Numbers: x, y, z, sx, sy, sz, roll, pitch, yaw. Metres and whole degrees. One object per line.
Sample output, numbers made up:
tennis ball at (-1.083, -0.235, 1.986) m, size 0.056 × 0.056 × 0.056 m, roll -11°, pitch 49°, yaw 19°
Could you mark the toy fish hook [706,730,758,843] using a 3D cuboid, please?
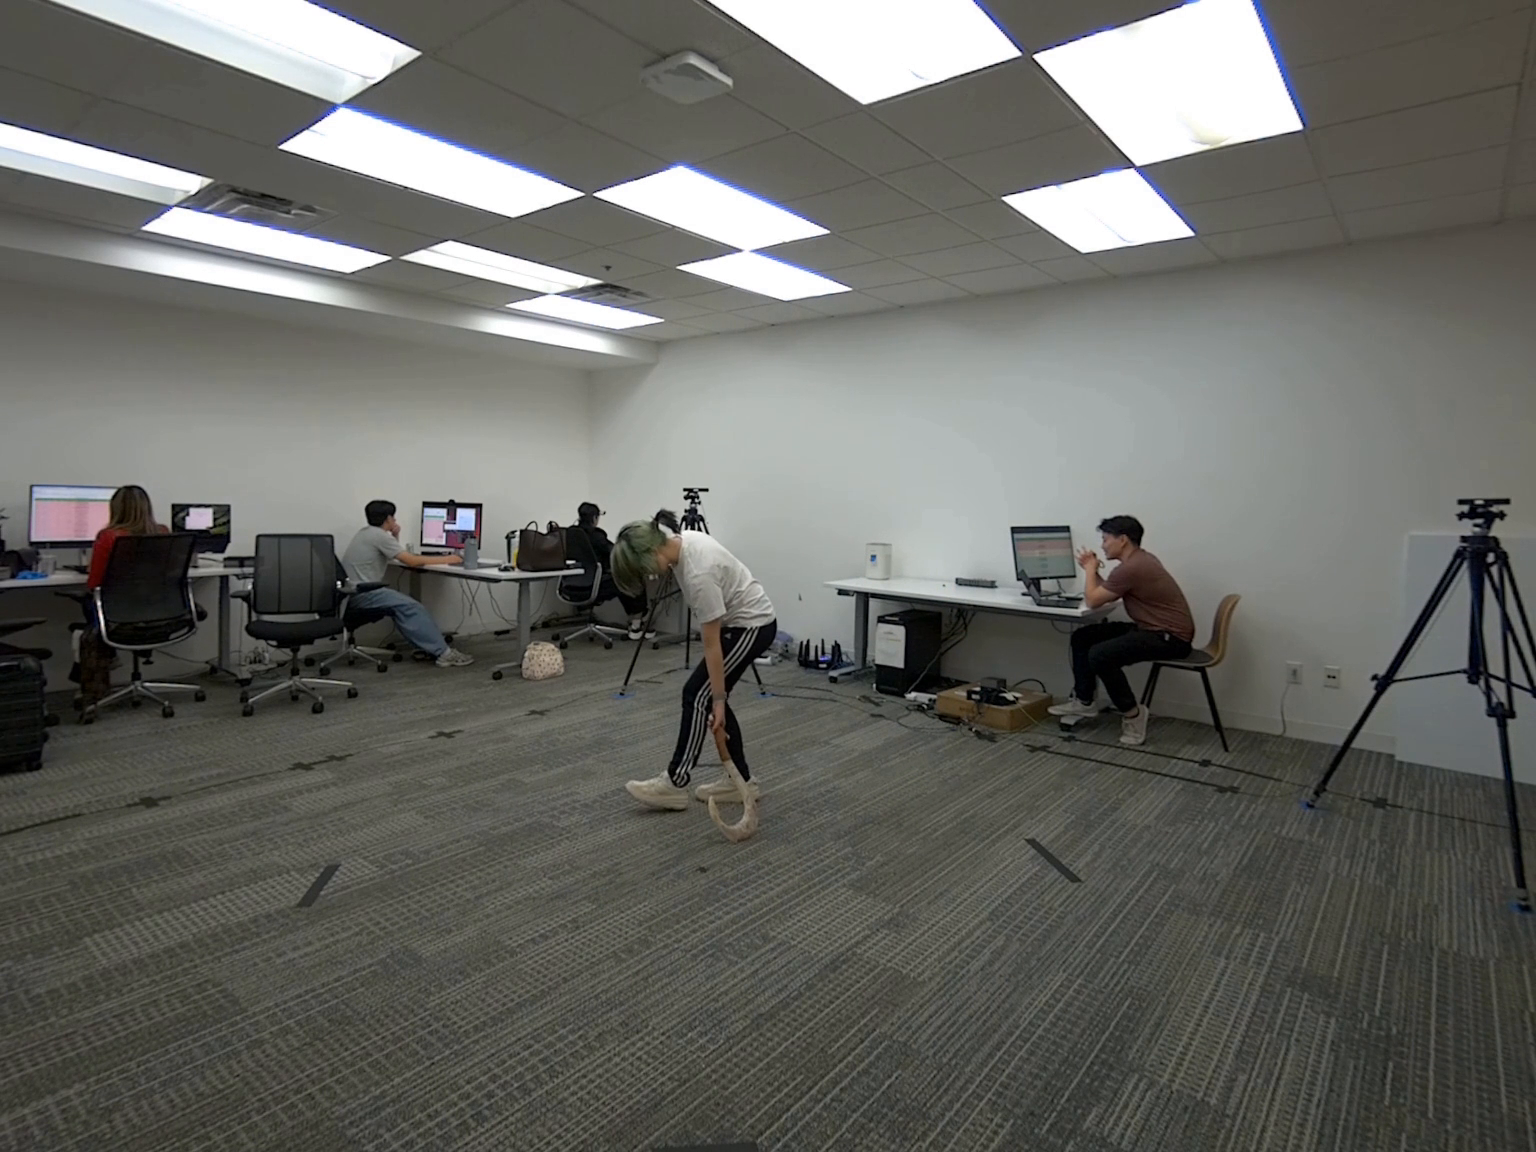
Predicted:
toy fish hook at (-0.191, 0.808, 3.435) m, size 0.218 × 0.517 × 0.049 m, roll -7°, pitch -21°, yaw -41°
